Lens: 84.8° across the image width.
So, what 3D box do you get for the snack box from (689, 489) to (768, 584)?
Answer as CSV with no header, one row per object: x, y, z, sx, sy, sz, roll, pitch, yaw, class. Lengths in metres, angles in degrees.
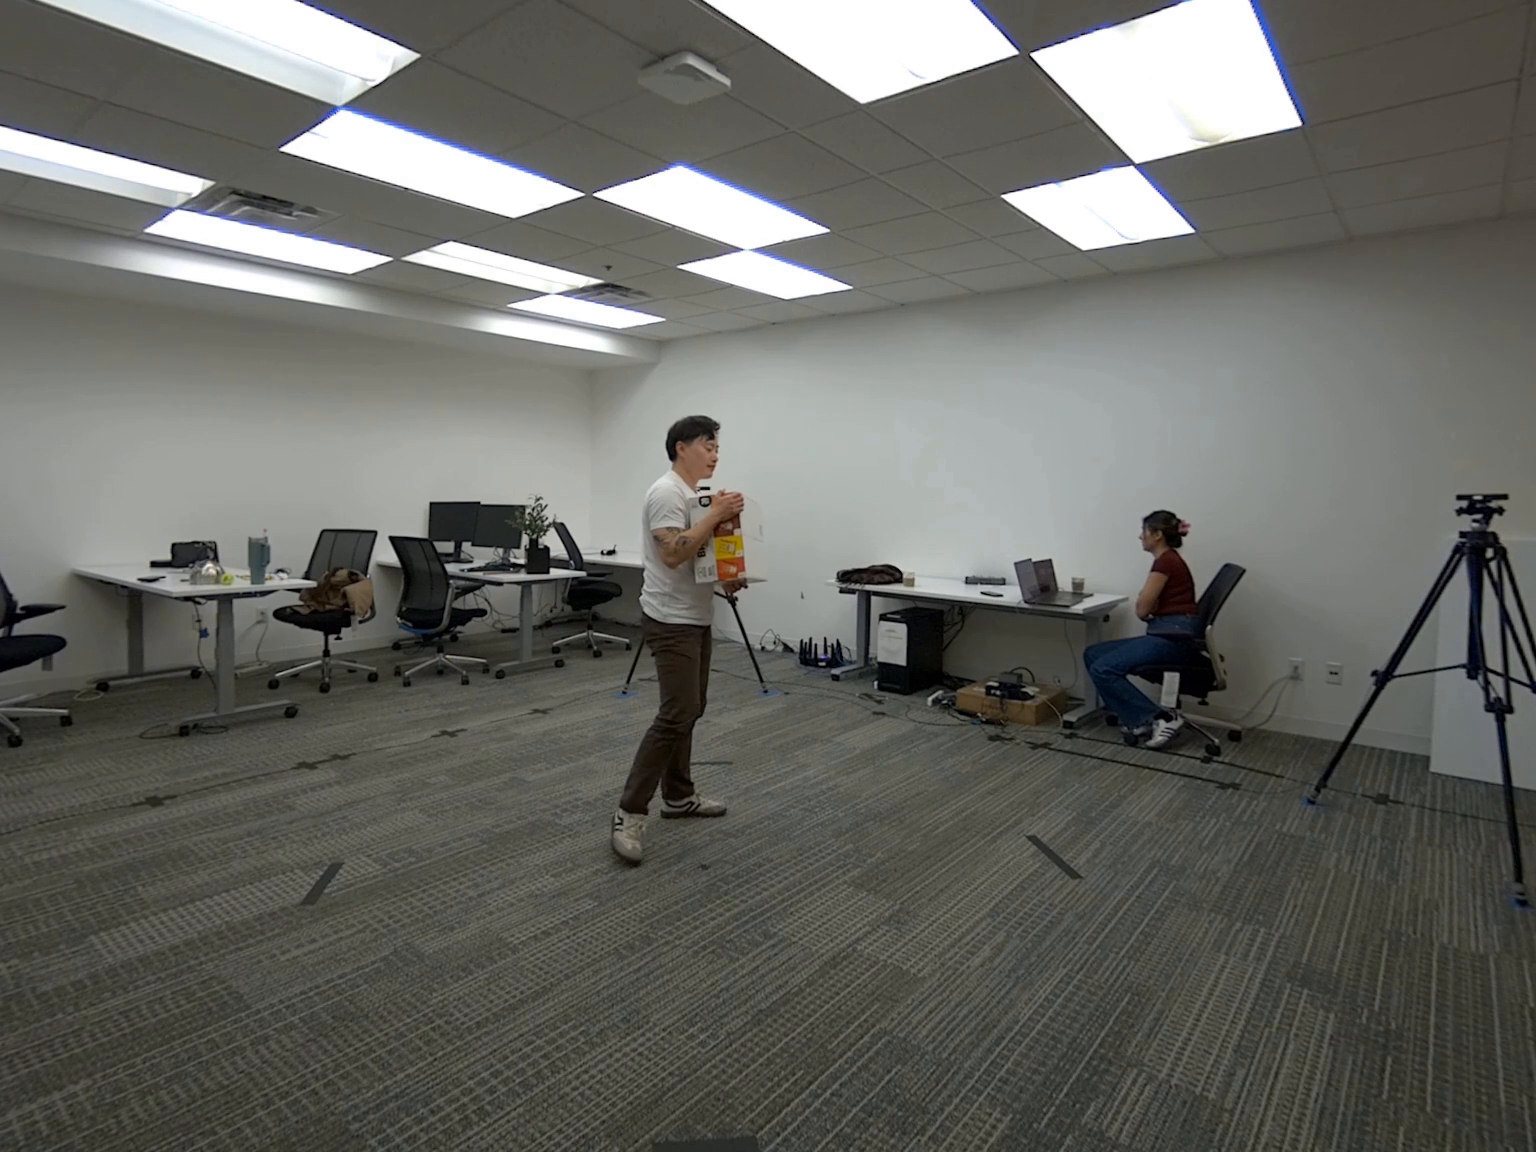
-0.171,-0.149,3.474,0.209,0.342,0.397,-4,-4,14,snack box
